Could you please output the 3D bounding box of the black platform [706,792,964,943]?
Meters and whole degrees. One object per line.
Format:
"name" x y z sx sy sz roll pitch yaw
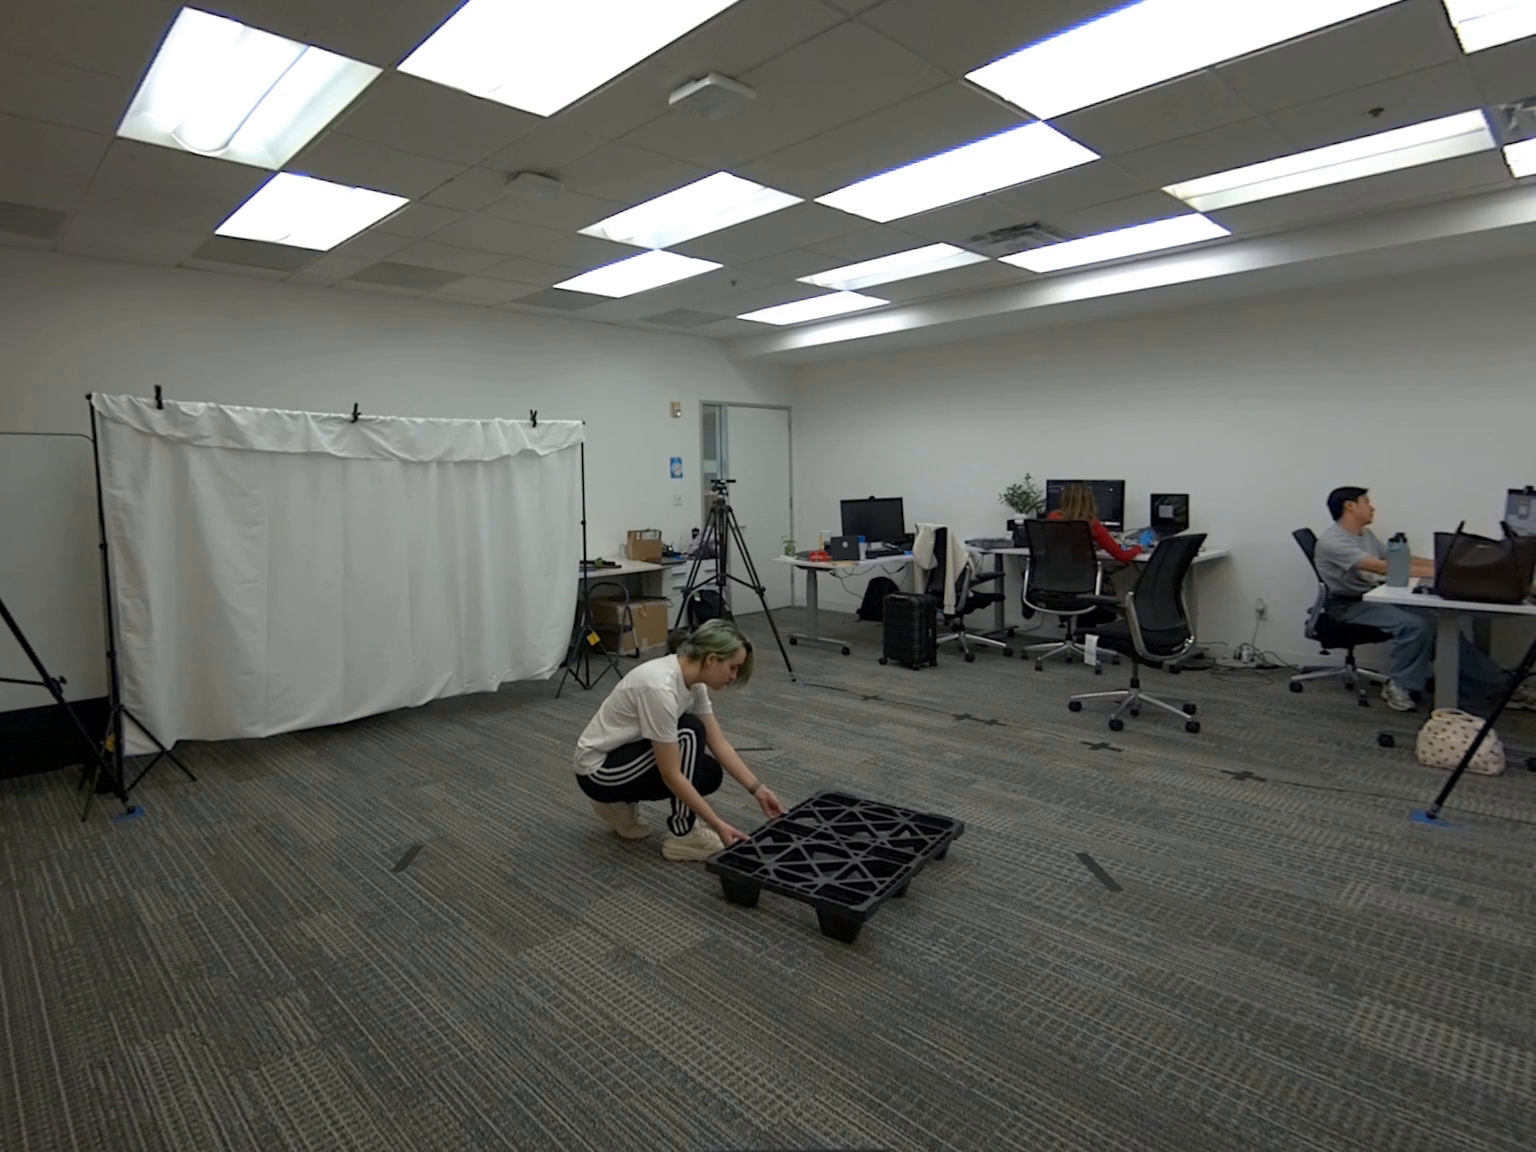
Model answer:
"black platform" 0.253 0.989 2.981 0.622 0.143 0.786 3 7 35
